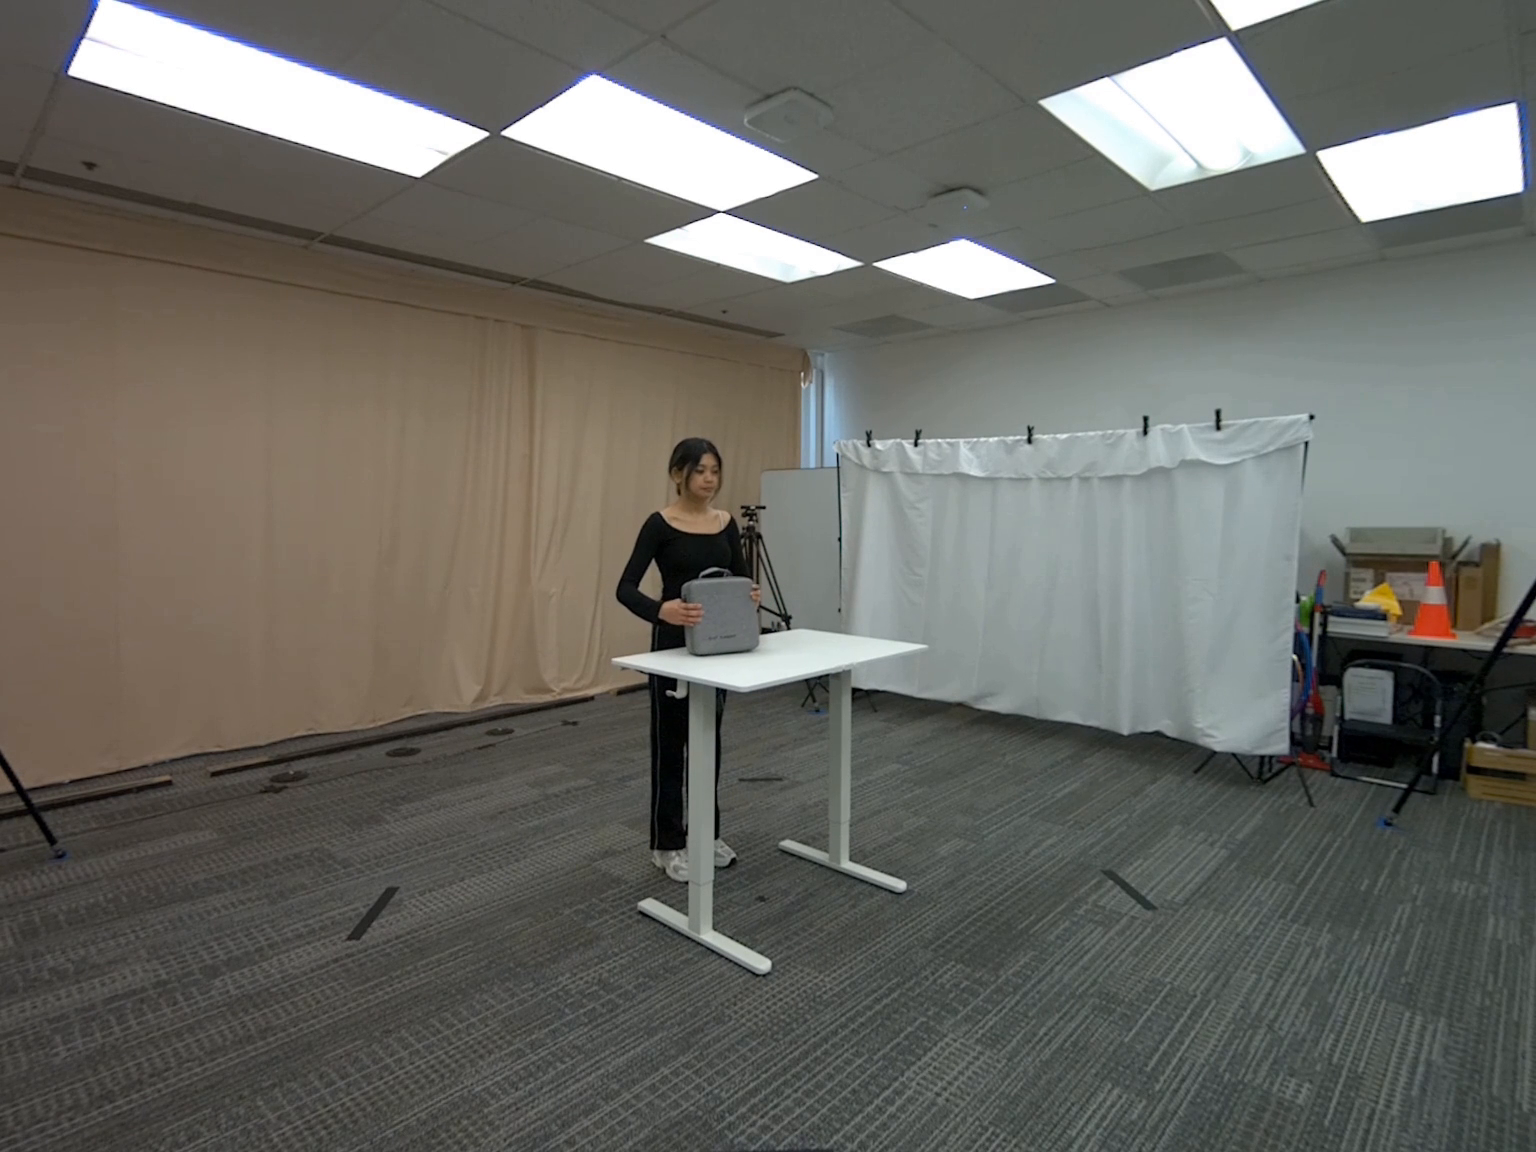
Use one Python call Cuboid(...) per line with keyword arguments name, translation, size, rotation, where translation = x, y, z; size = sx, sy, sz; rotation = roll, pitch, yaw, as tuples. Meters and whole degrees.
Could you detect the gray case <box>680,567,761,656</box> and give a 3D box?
Cuboid(name="gray case", translation=(-0.167, 0.135, 2.912), size=(0.251, 0.261, 0.106), rotation=(-2, -5, -26))
